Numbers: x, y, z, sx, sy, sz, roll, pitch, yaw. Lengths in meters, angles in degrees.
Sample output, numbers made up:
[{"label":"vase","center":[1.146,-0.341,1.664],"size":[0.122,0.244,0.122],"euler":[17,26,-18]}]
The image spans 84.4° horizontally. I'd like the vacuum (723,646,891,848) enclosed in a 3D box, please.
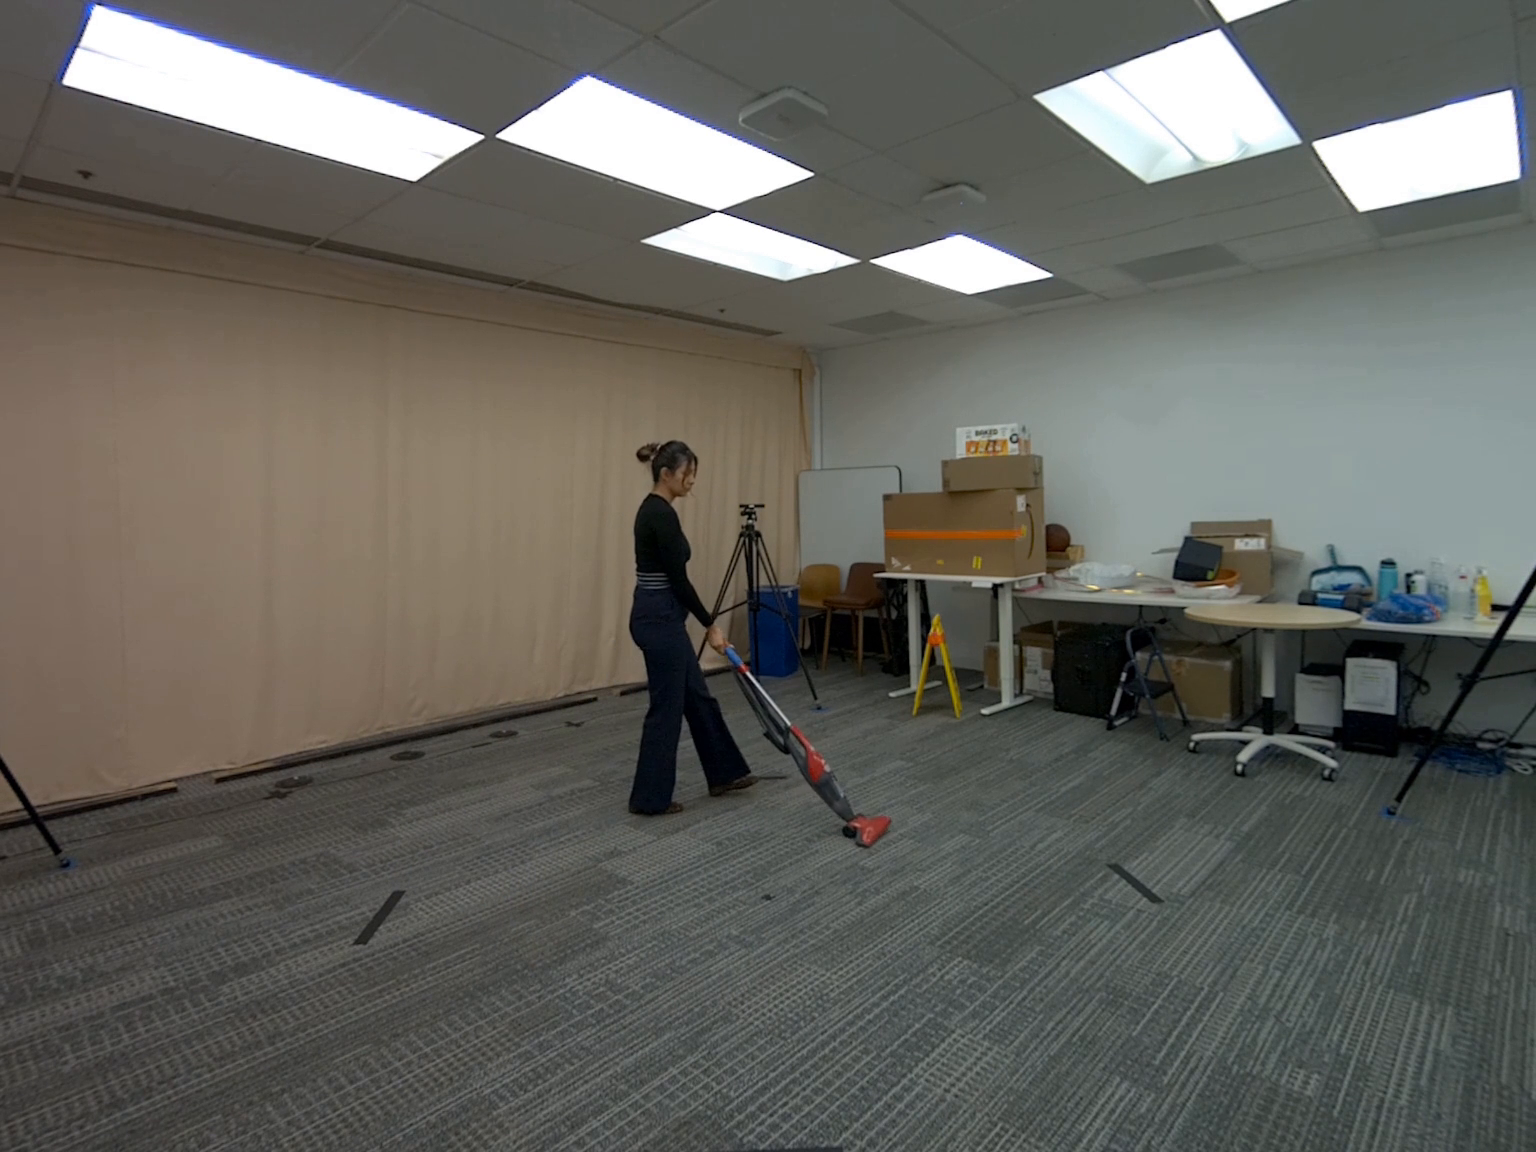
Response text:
[{"label":"vacuum","center":[0.088,0.683,3.656],"size":[0.145,1.068,0.246],"euler":[-47,-16,23]}]
